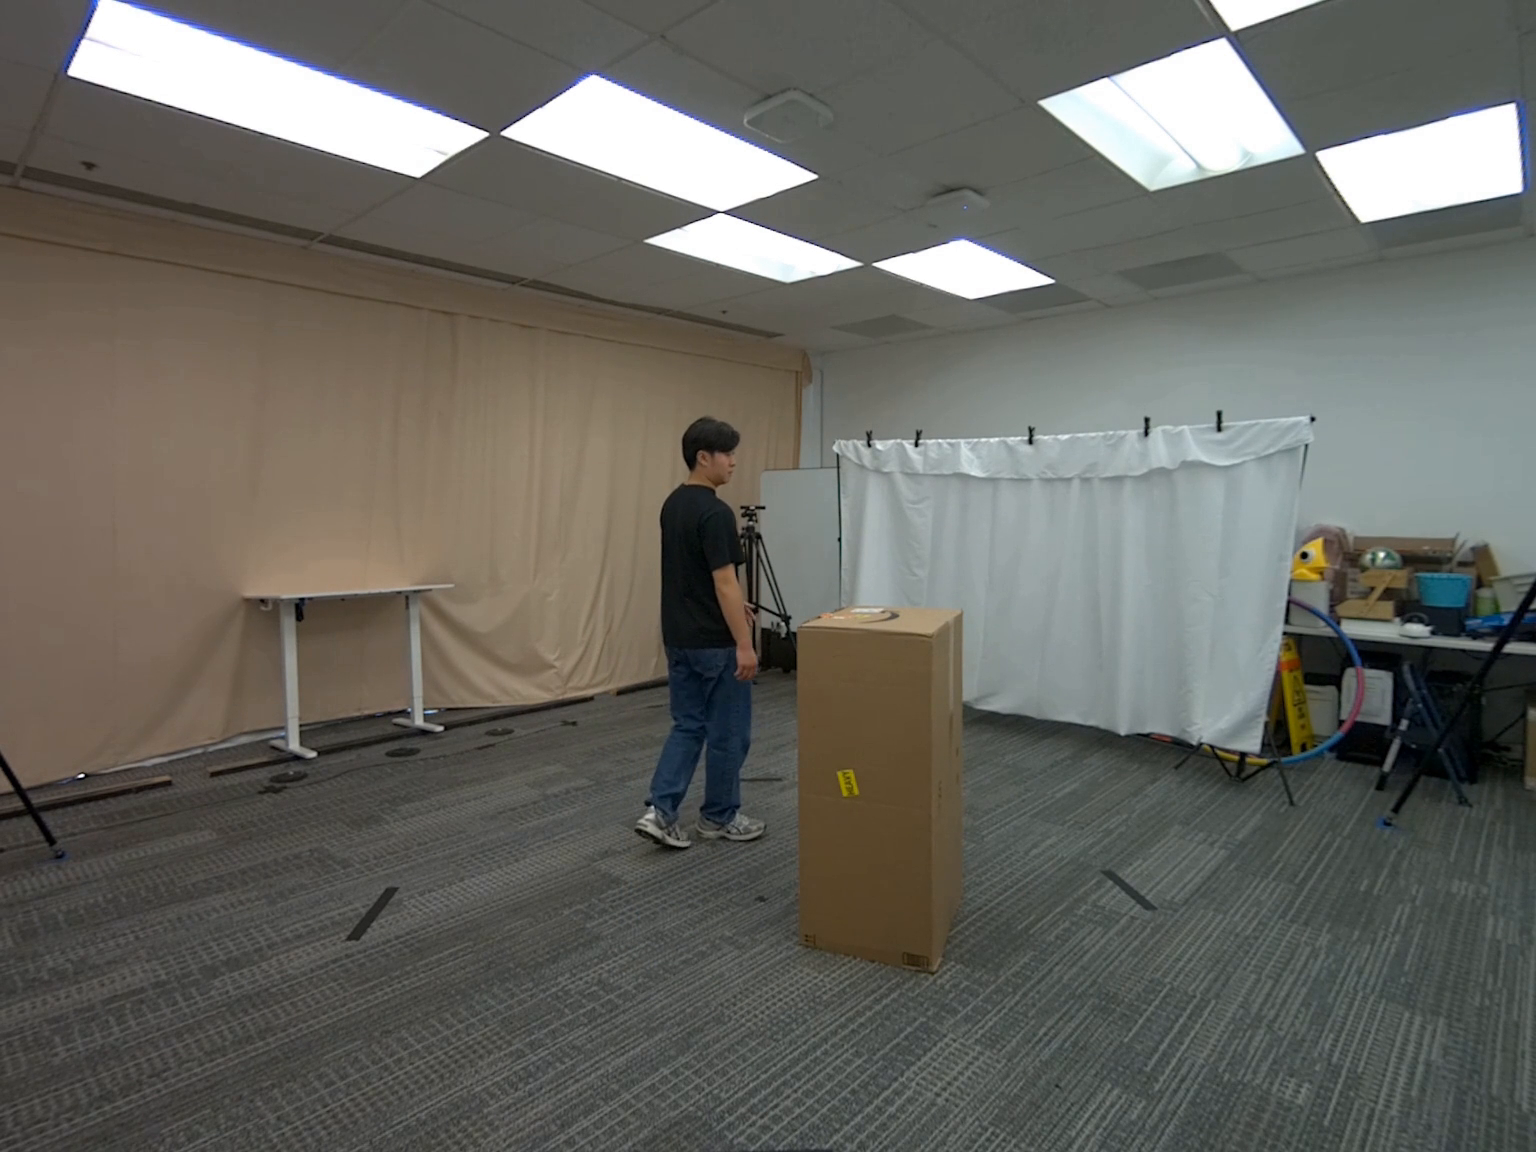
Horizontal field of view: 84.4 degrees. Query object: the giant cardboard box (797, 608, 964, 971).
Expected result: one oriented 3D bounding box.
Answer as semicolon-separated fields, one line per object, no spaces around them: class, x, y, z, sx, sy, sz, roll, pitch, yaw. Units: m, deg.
giant cardboard box;0.395;0.644;2.816;0.458;1.025;0.571;0;3;24
